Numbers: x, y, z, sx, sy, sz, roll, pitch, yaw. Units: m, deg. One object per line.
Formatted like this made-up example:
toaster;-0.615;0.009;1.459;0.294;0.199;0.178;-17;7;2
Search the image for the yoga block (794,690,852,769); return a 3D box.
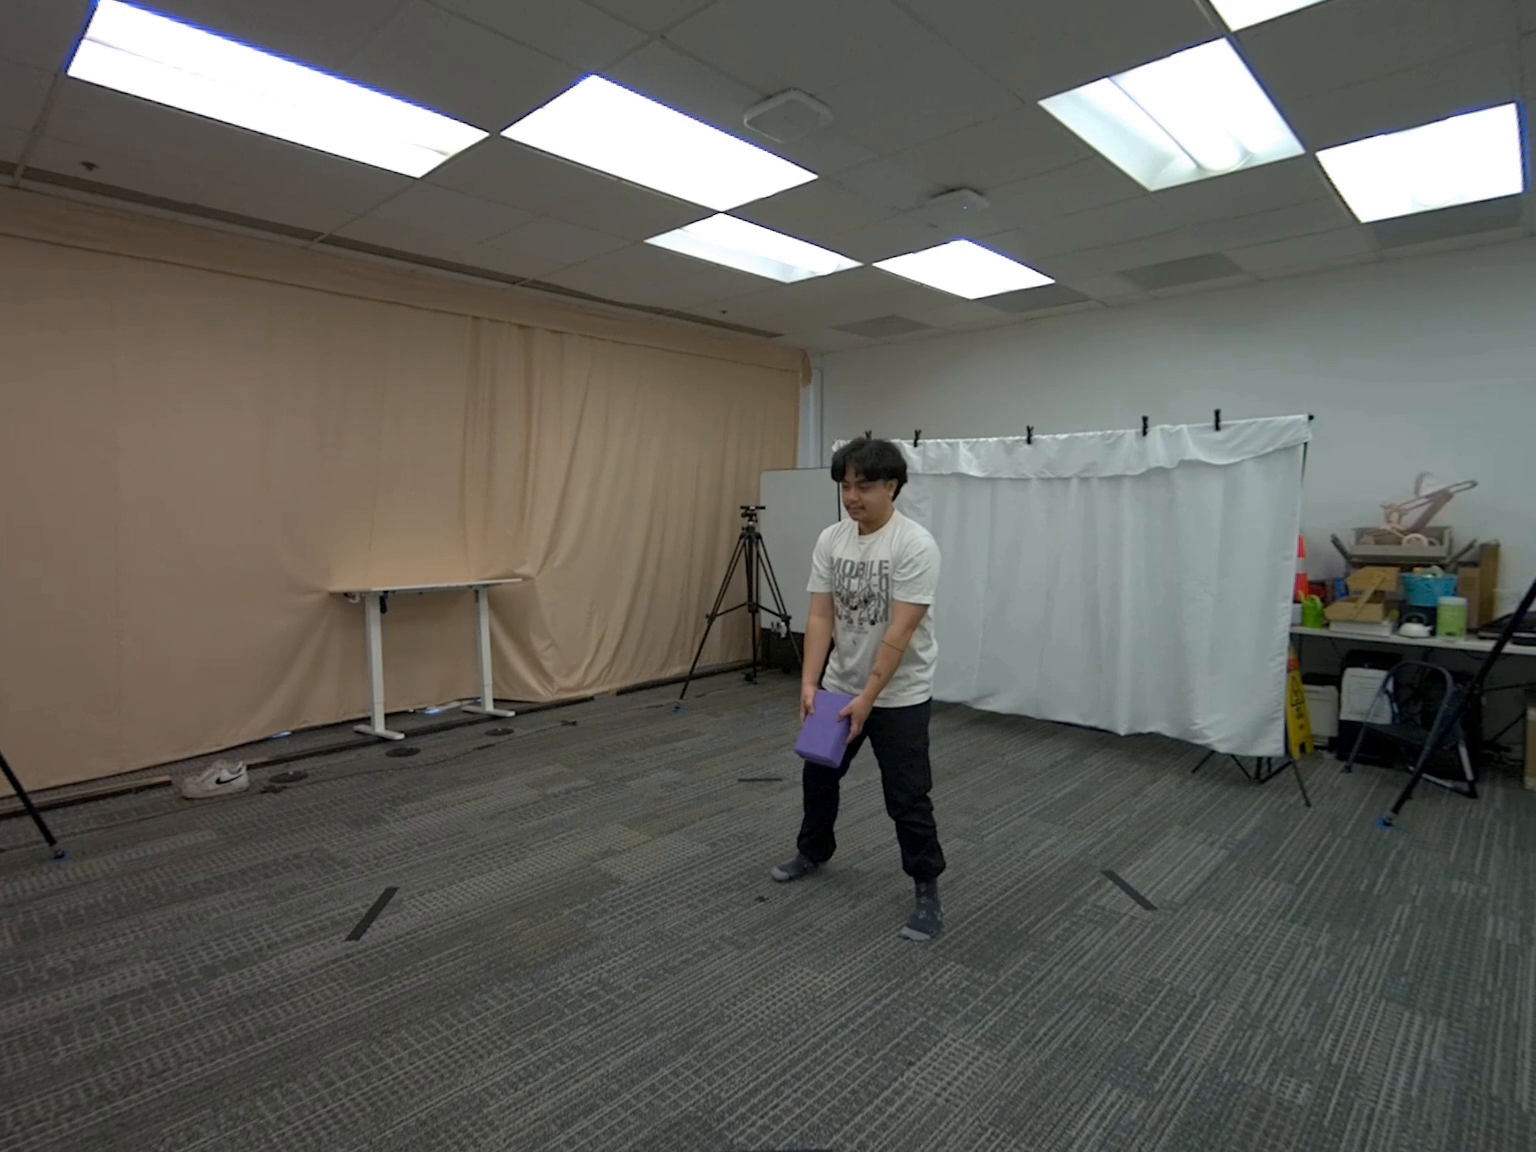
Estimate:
yoga block;0.199;0.506;2.770;0.154;0.230;0.074;3;-31;41
